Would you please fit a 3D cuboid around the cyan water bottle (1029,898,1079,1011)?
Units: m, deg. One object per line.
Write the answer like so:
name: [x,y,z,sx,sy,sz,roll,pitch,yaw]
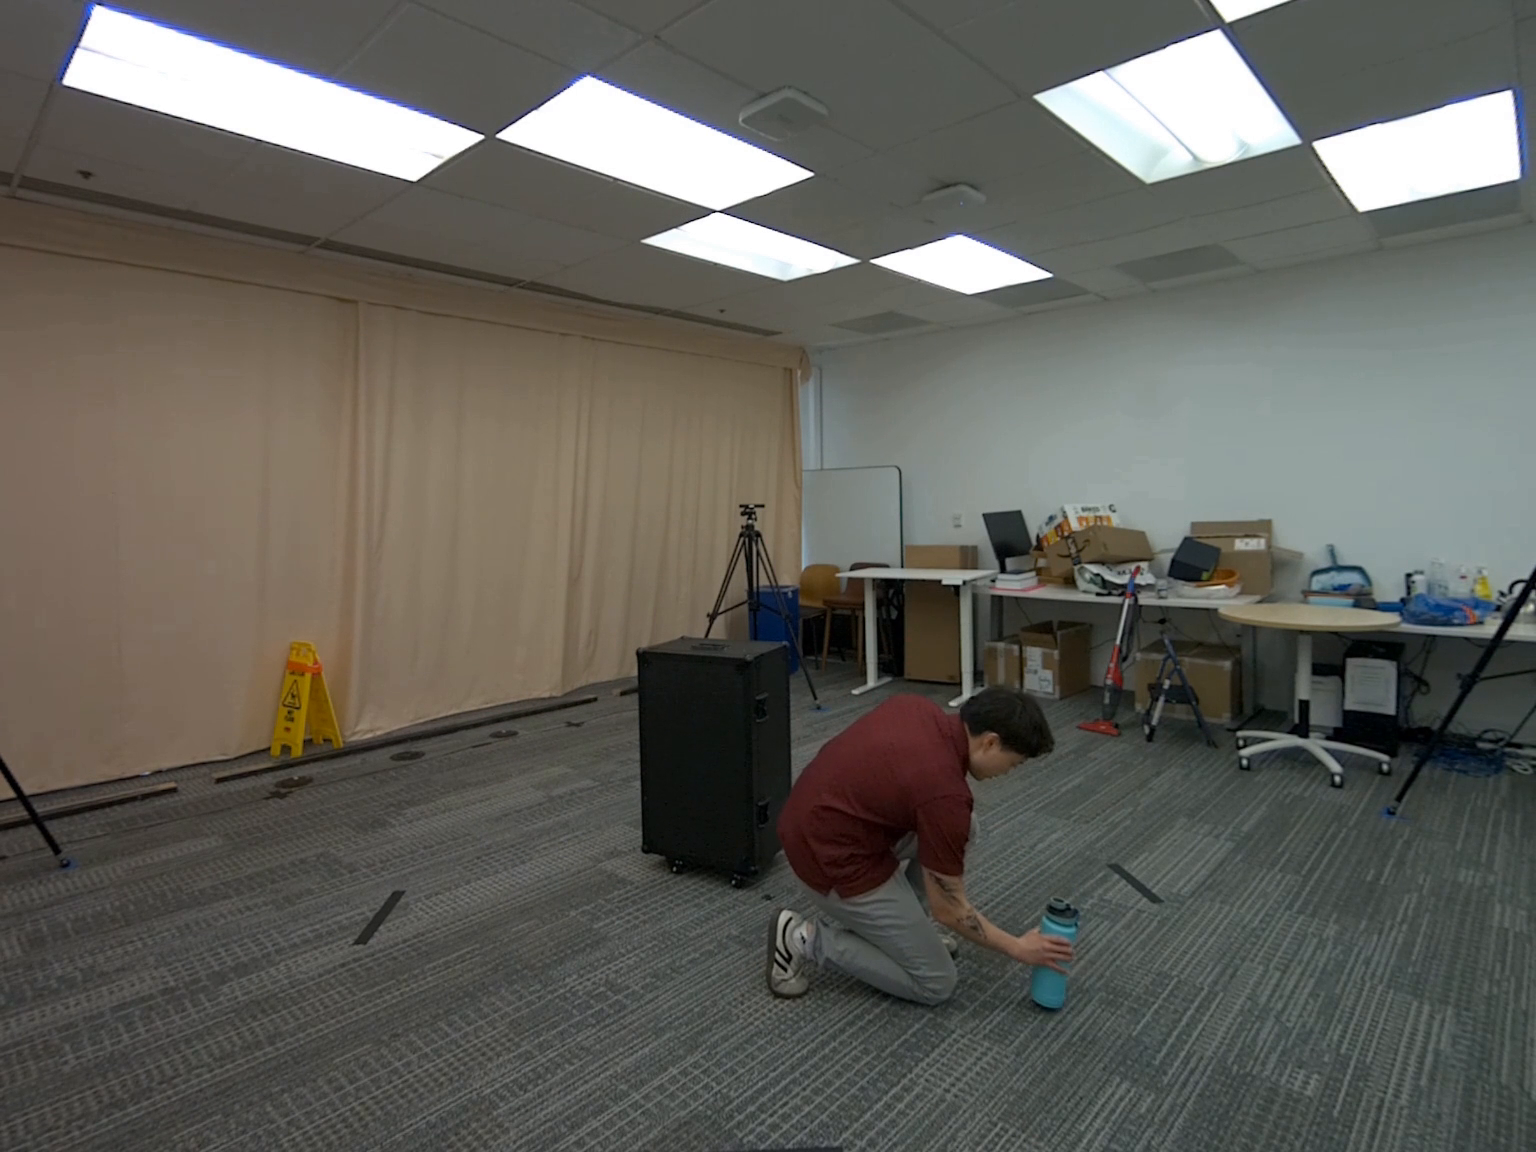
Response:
cyan water bottle: [0.793,1.024,2.294,0.092,0.283,0.092,9,2,-2]
